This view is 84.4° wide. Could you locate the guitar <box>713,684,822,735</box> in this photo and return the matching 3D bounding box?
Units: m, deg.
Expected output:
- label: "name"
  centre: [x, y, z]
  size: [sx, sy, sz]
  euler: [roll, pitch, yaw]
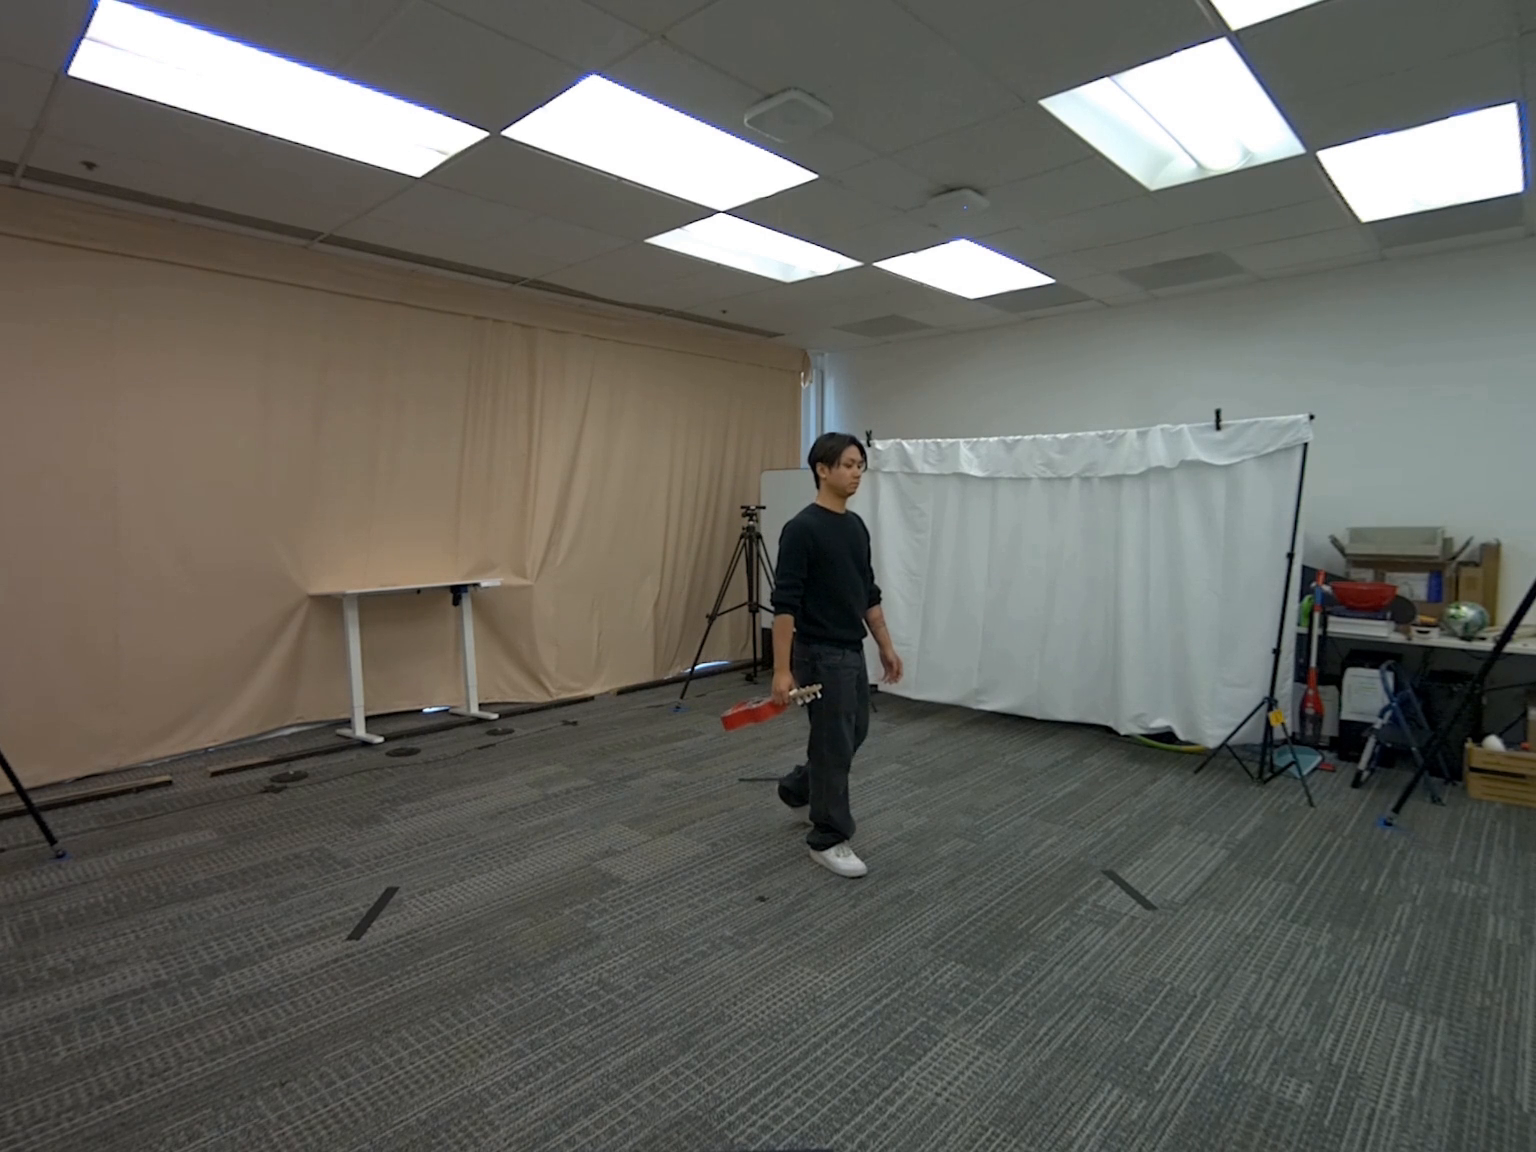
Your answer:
- label: "guitar"
  centre: [0.008, 0.490, 3.110]
  size: [0.189, 0.071, 0.507]
  euler: [-23, 0, -34]
